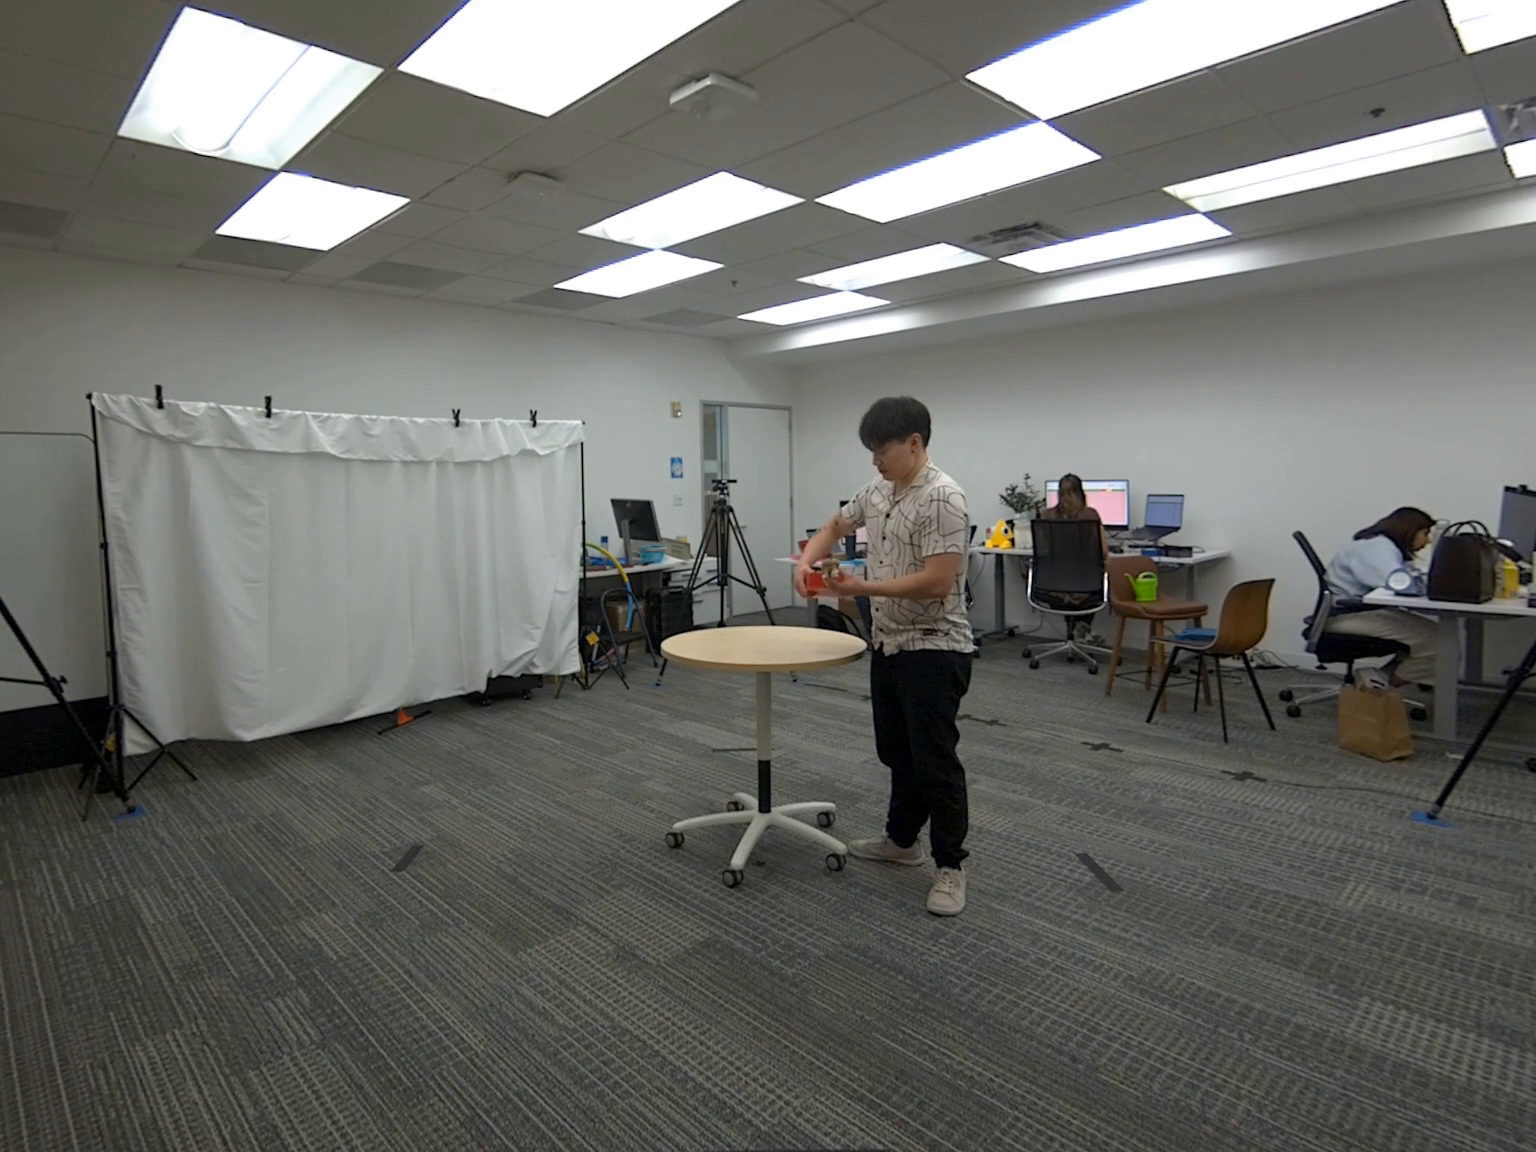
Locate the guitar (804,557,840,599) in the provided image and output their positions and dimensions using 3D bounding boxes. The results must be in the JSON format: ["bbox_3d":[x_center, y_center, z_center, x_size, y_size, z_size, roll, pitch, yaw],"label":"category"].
[{"bbox_3d":[0.192,0.013,2.877,0.195,0.071,0.486,-5,-8,14],"label":"guitar"}]
